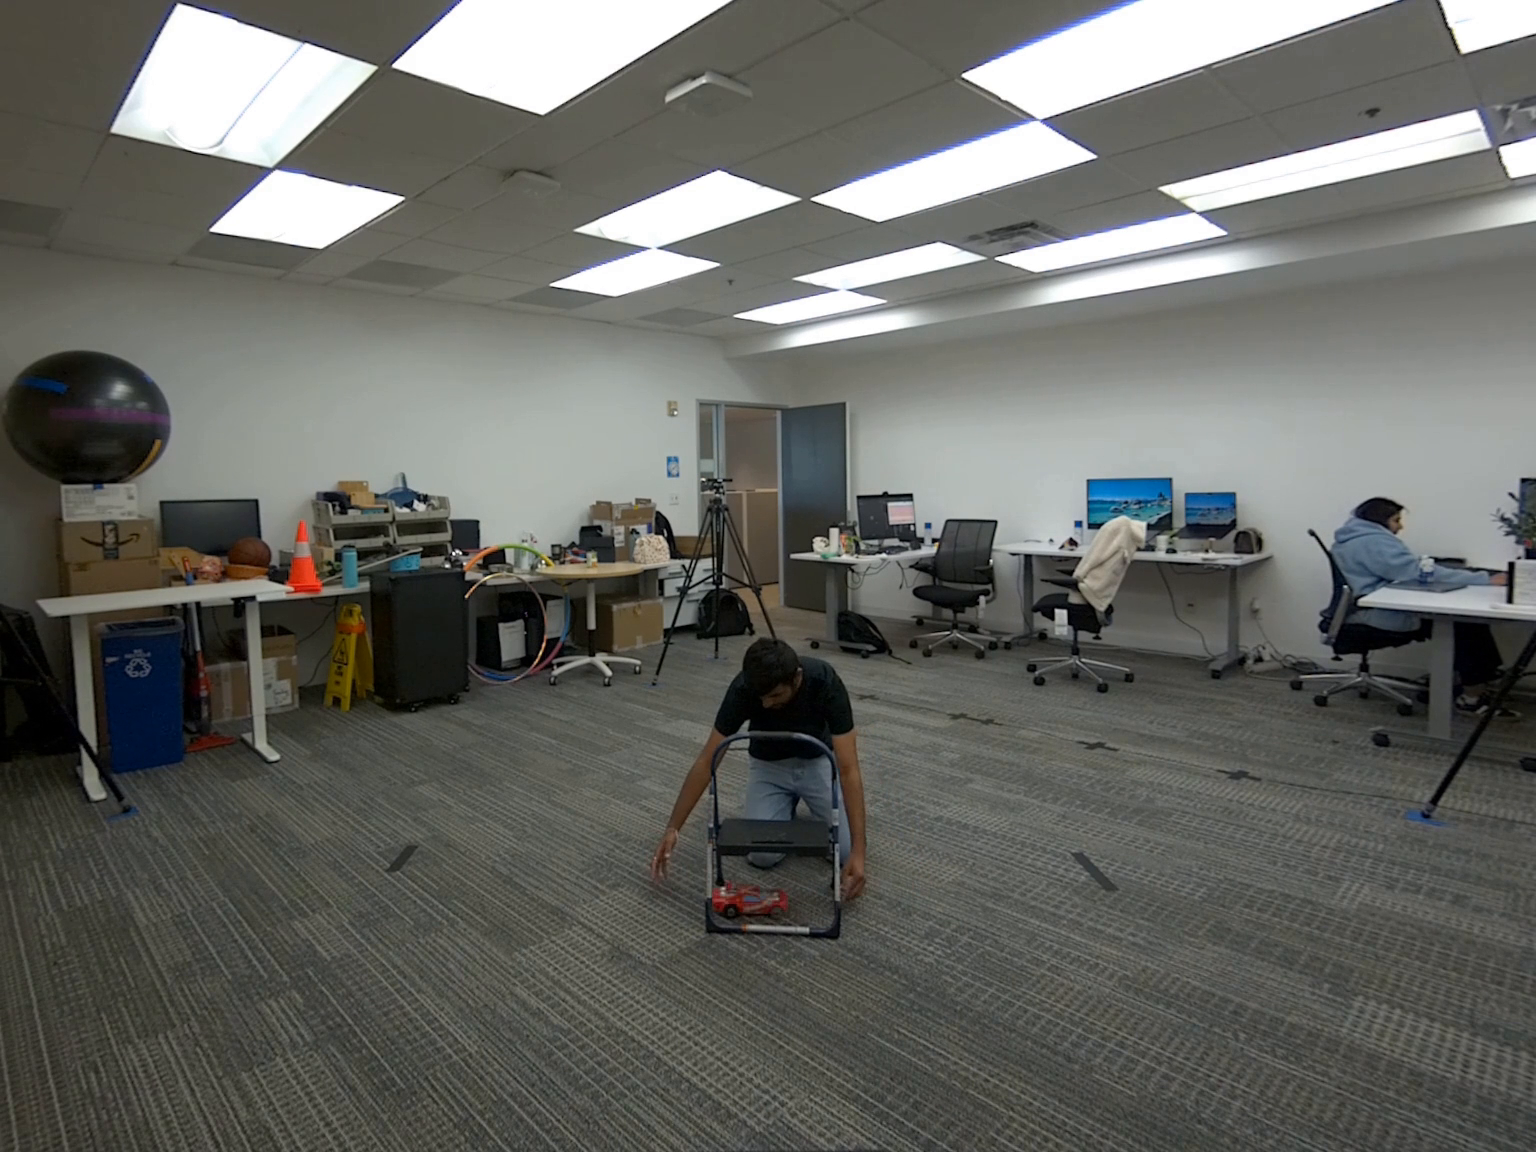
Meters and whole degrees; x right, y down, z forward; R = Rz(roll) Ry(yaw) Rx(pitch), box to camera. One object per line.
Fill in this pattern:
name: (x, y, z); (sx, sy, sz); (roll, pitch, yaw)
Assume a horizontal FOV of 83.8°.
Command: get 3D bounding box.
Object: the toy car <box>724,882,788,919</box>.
toy car: (0.029, 1.079, 2.761); (0.257, 0.082, 0.130); (18, 12, 6)
